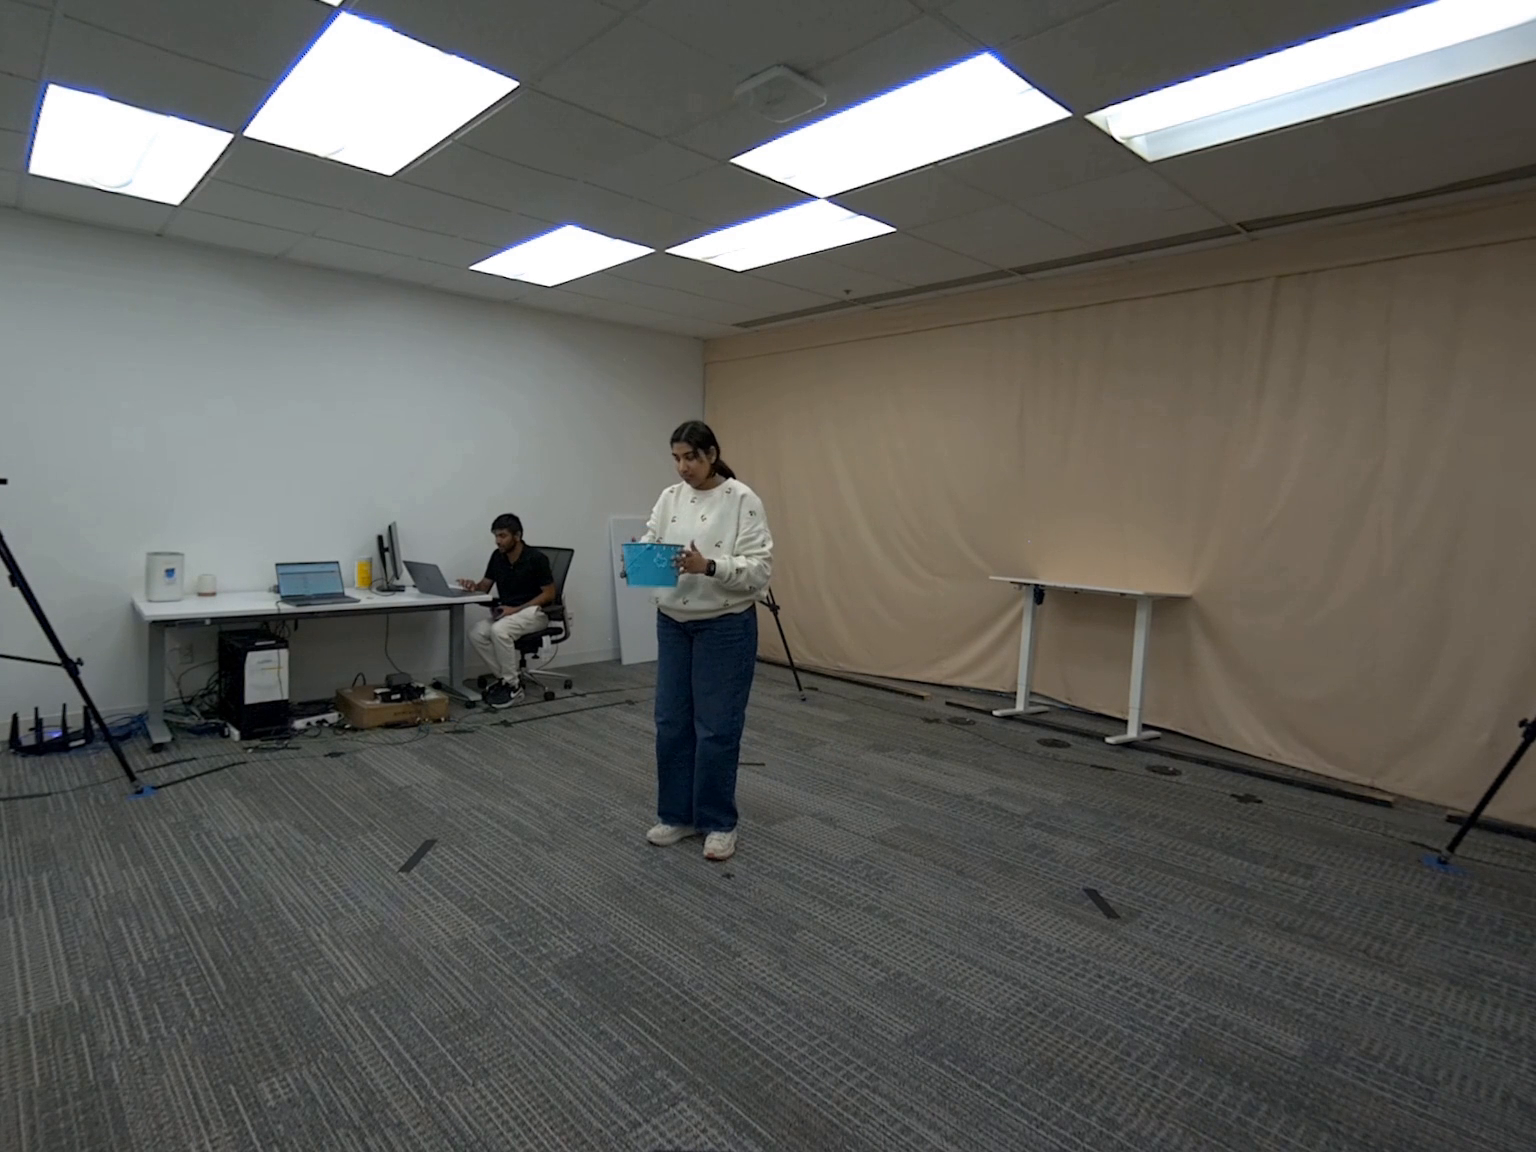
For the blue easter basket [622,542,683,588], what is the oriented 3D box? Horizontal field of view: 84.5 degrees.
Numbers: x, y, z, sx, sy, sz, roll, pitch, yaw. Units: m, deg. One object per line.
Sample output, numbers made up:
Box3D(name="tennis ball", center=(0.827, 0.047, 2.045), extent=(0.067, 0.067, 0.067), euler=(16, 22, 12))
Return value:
Box3D(name="blue easter basket", center=(-0.431, -0.037, 3.028), extent=(0.243, 0.156, 0.243), euler=(2, -1, -1))
